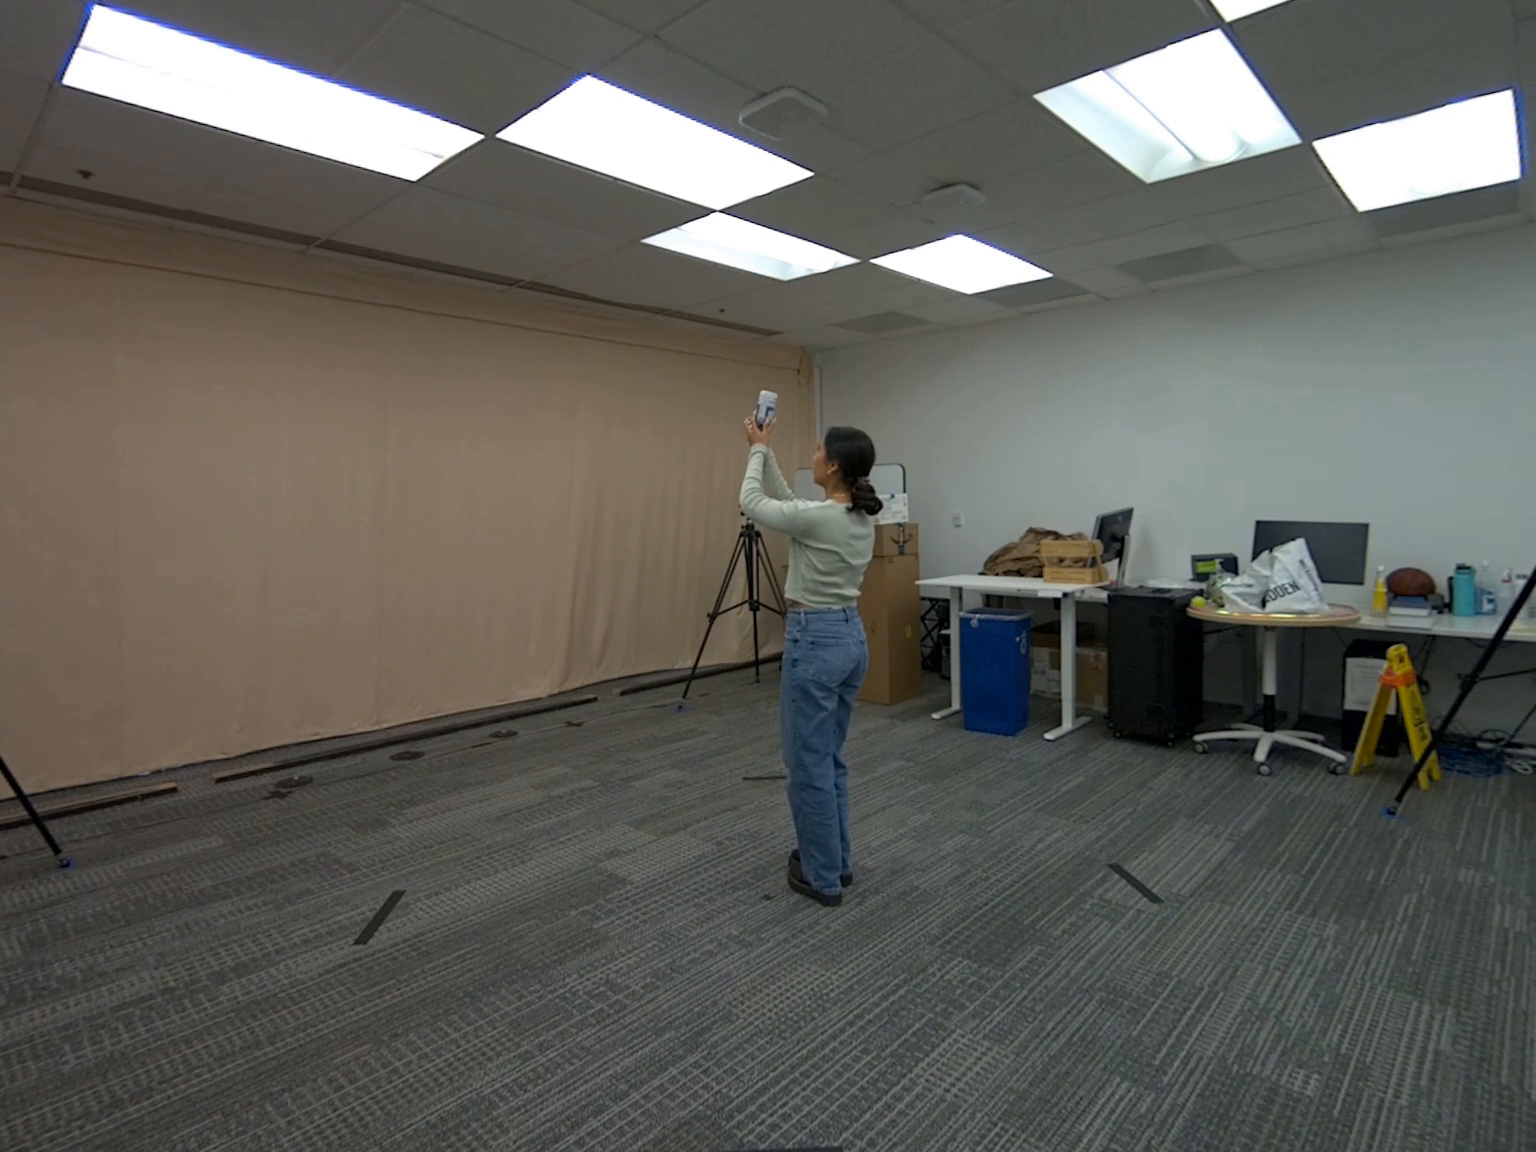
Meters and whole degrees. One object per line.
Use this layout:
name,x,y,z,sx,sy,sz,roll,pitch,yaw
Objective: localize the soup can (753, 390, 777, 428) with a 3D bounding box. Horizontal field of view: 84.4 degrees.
soup can,-0.009,-0.633,3.172,0.067,0.121,0.067,8,5,-3
